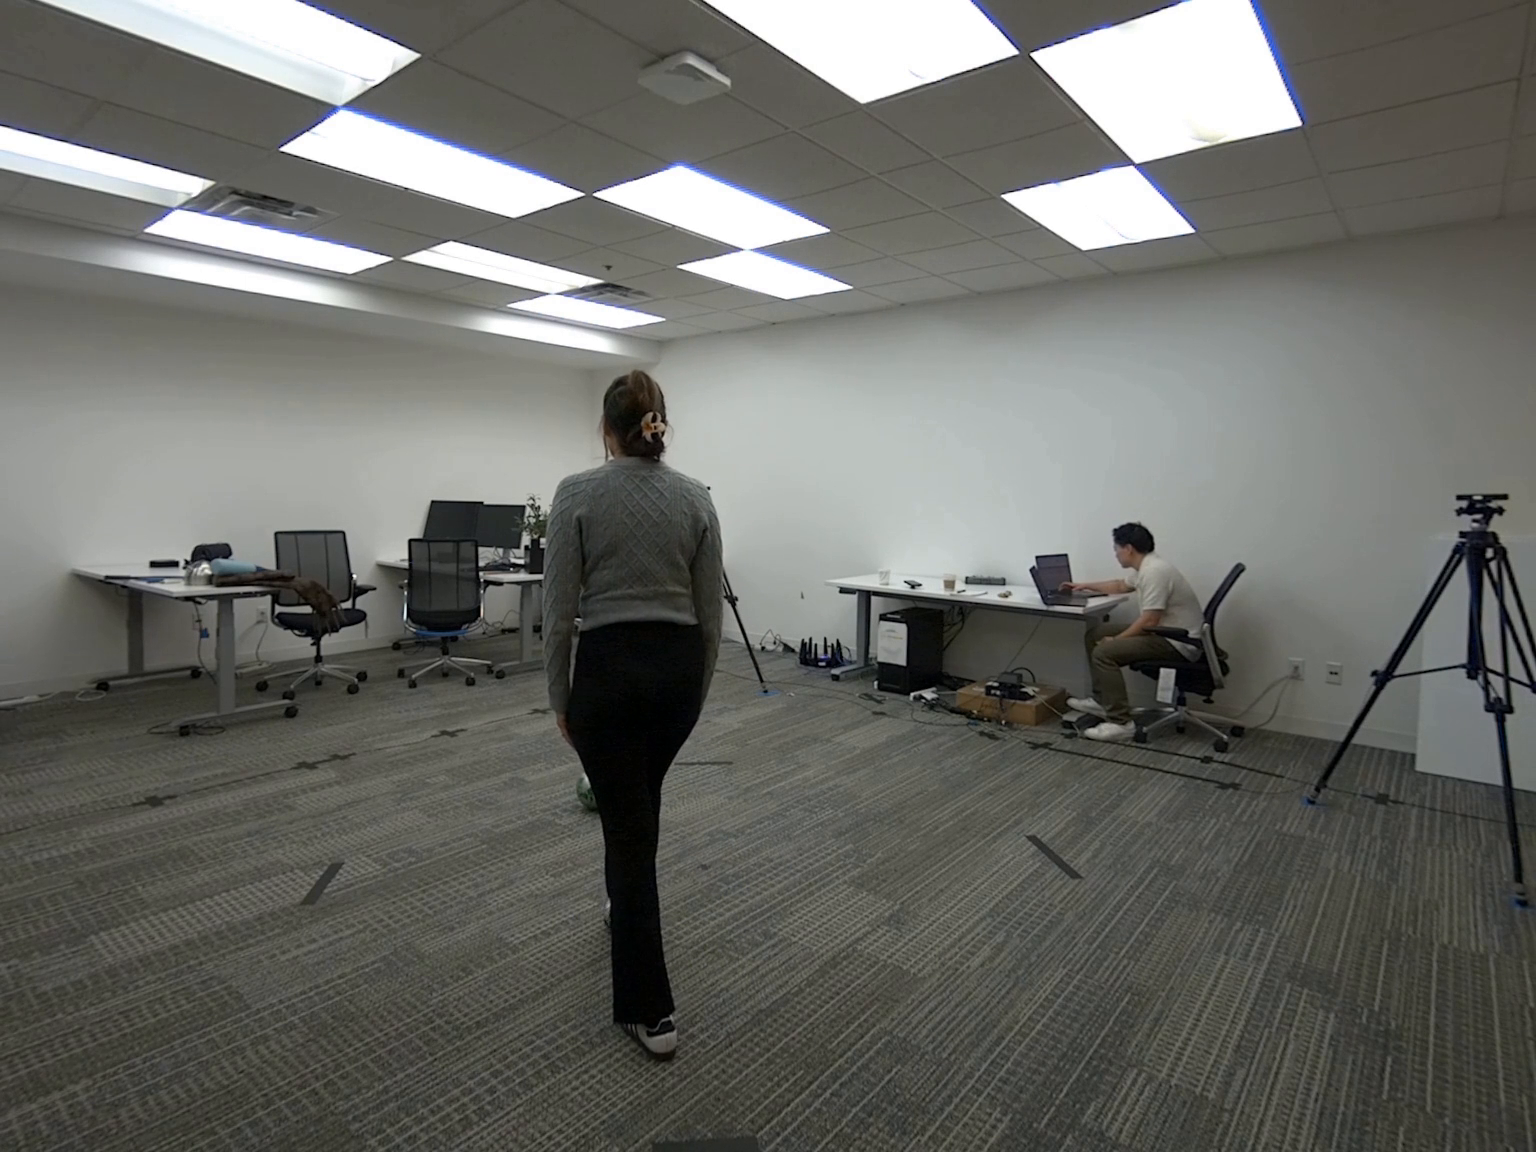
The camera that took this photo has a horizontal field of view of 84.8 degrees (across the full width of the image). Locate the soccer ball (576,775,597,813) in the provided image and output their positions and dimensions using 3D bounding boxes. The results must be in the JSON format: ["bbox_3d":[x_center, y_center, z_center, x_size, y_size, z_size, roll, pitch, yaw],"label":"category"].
[{"bbox_3d":[-0.738,0.907,3.670,0.187,0.187,0.188,1,4,-2],"label":"soccer ball"}]
